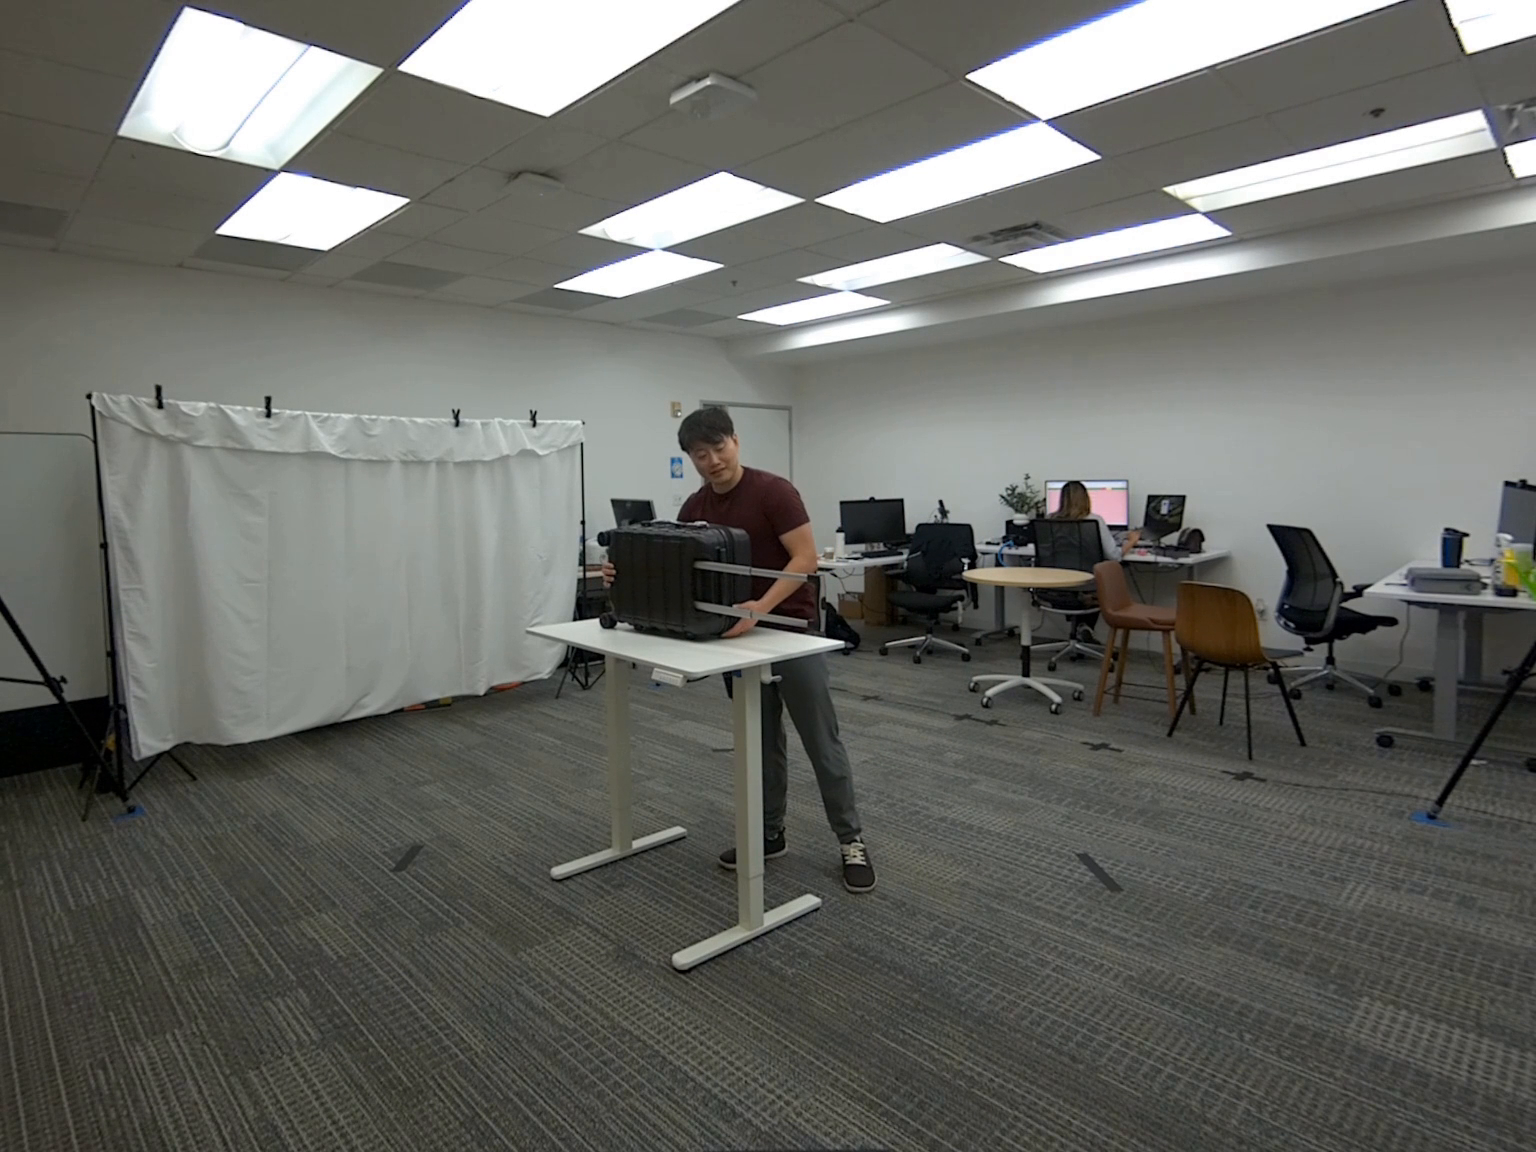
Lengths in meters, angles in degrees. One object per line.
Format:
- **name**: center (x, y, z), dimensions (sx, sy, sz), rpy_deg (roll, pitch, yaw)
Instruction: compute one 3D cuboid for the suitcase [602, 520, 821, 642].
- **suitcase**: center (-0.164, 0.025, 2.760), dimensions (1.009, 0.383, 0.250), rpy_deg (4, 5, 44)
